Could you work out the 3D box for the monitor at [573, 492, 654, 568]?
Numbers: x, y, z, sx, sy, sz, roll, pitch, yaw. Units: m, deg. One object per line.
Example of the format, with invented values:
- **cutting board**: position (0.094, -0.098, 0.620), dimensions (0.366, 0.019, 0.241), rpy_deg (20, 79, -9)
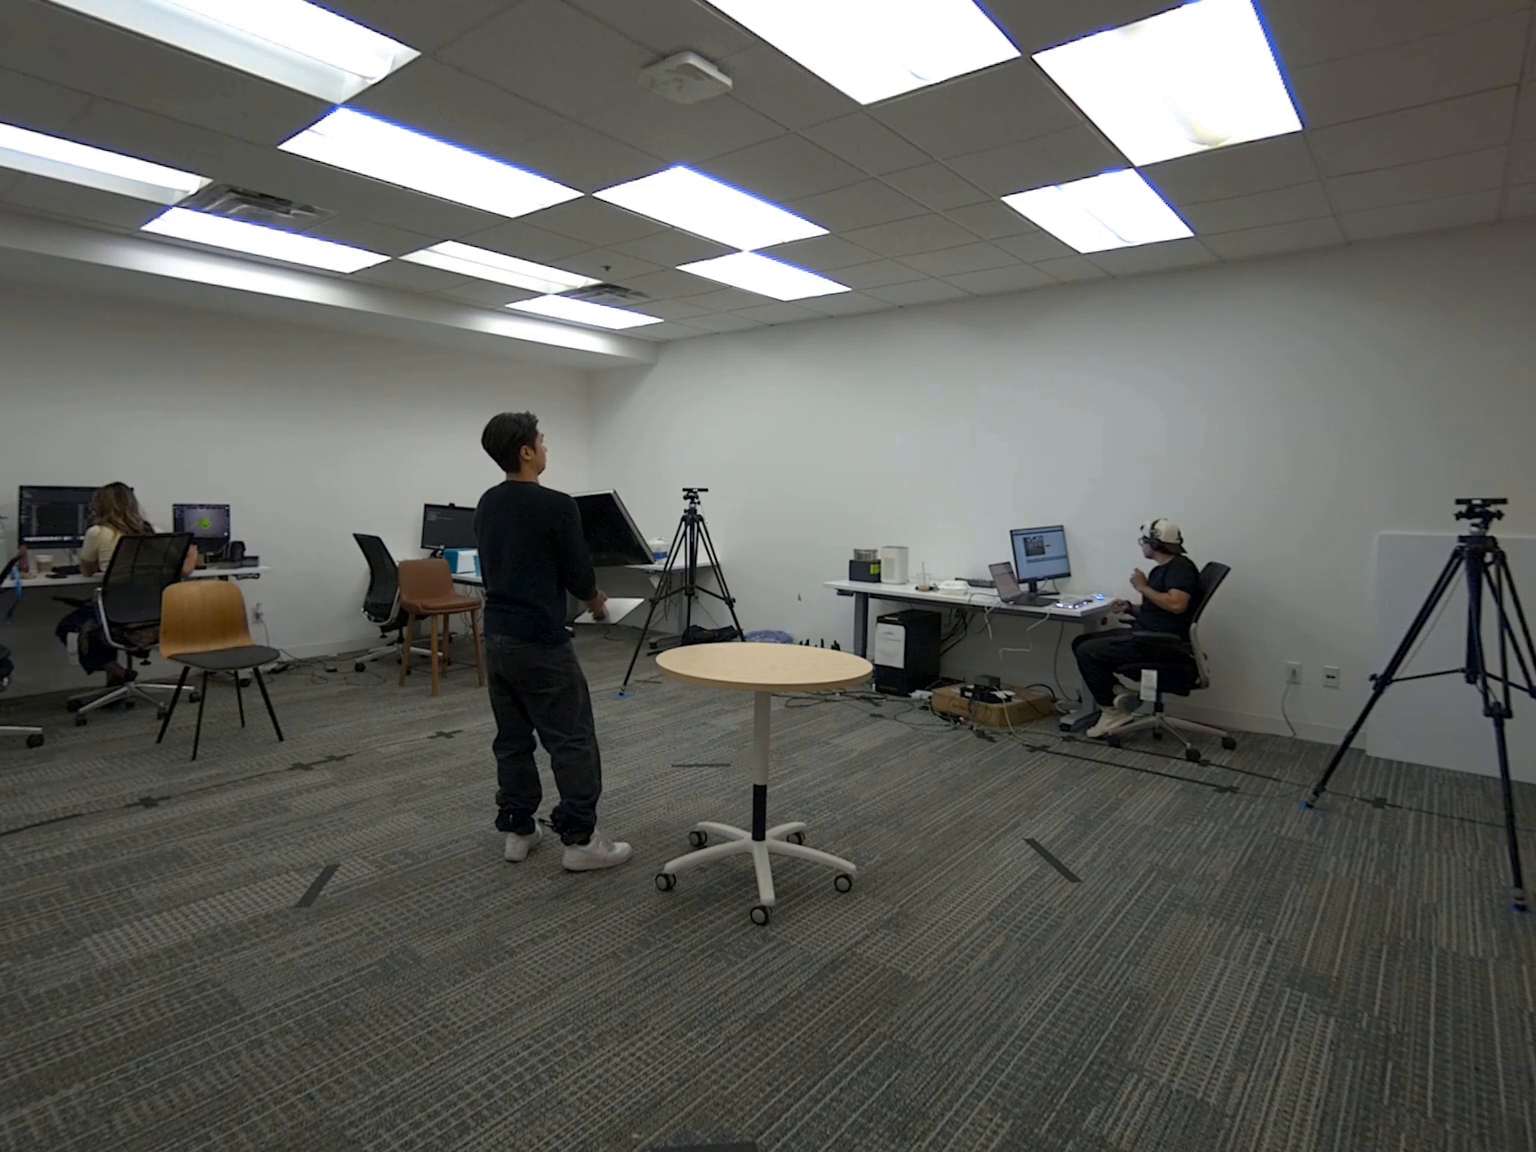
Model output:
- **monitor**: position (-0.747, -0.087, 3.457), dimensions (0.555, 0.511, 0.186), rpy_deg (-2, 24, 36)
